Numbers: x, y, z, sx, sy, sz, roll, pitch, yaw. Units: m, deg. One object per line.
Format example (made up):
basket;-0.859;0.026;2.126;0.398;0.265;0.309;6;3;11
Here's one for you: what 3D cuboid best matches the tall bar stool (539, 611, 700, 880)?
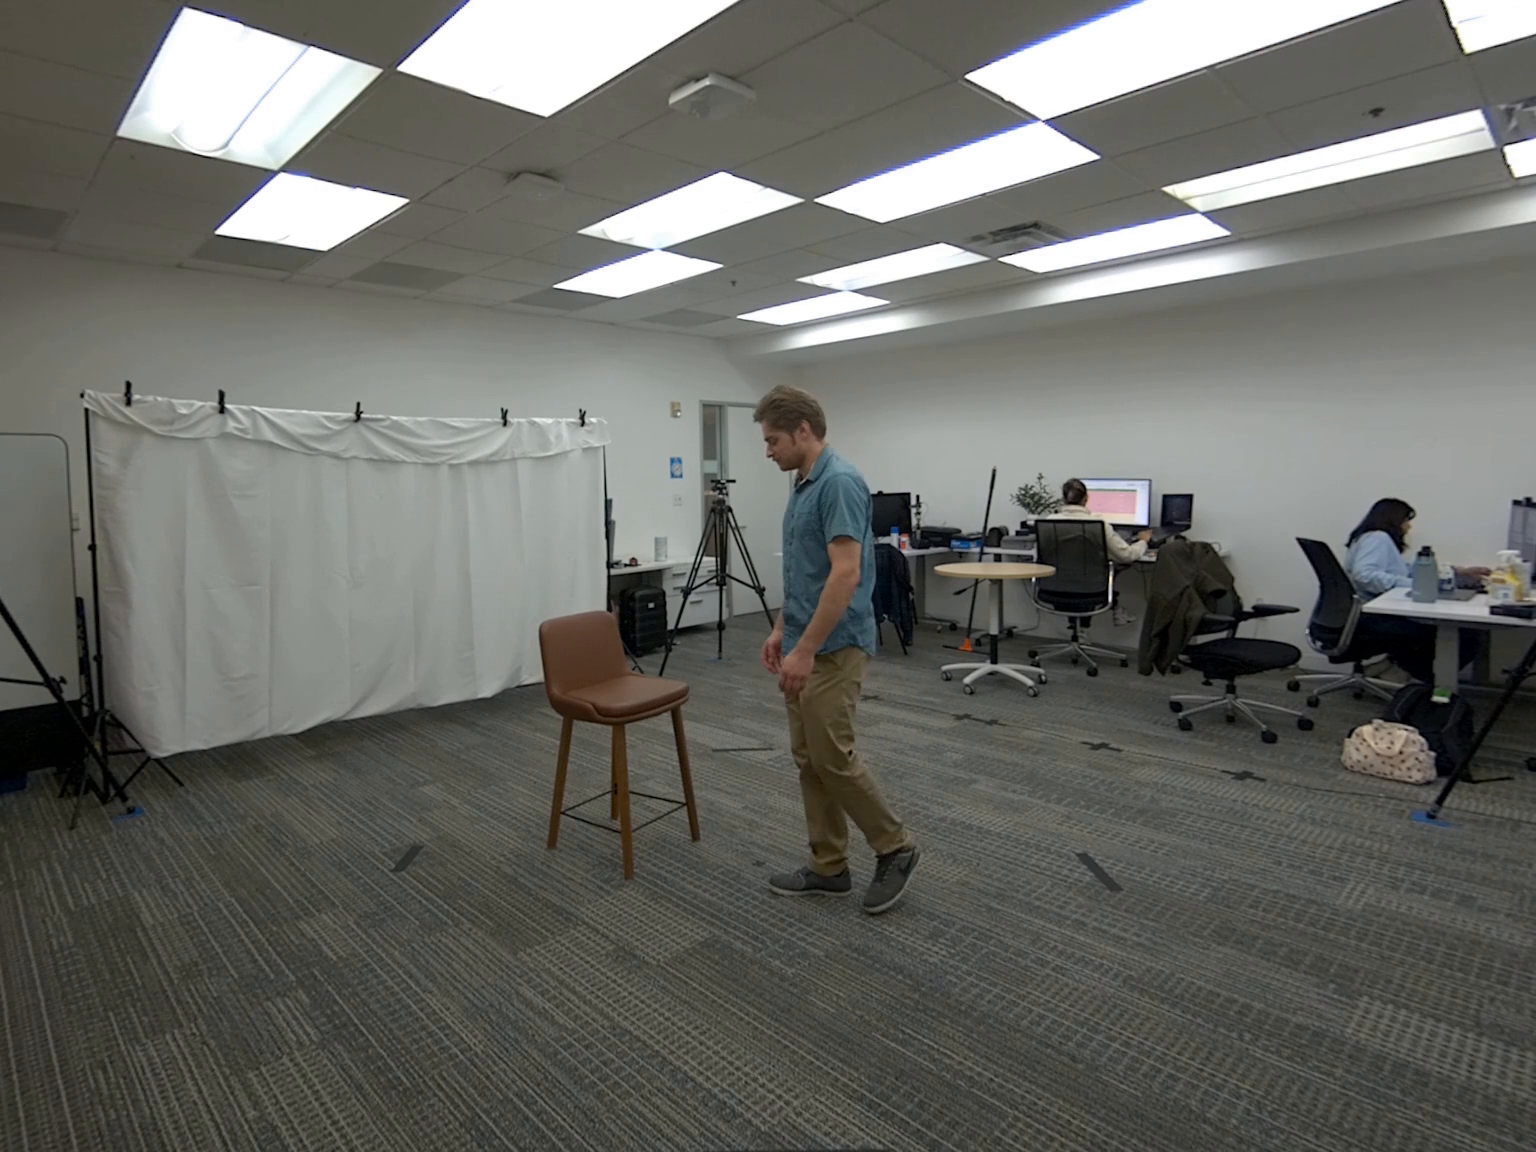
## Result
tall bar stool;-0.566;0.602;3.279;0.480;0.888;0.445;-1;3;36
